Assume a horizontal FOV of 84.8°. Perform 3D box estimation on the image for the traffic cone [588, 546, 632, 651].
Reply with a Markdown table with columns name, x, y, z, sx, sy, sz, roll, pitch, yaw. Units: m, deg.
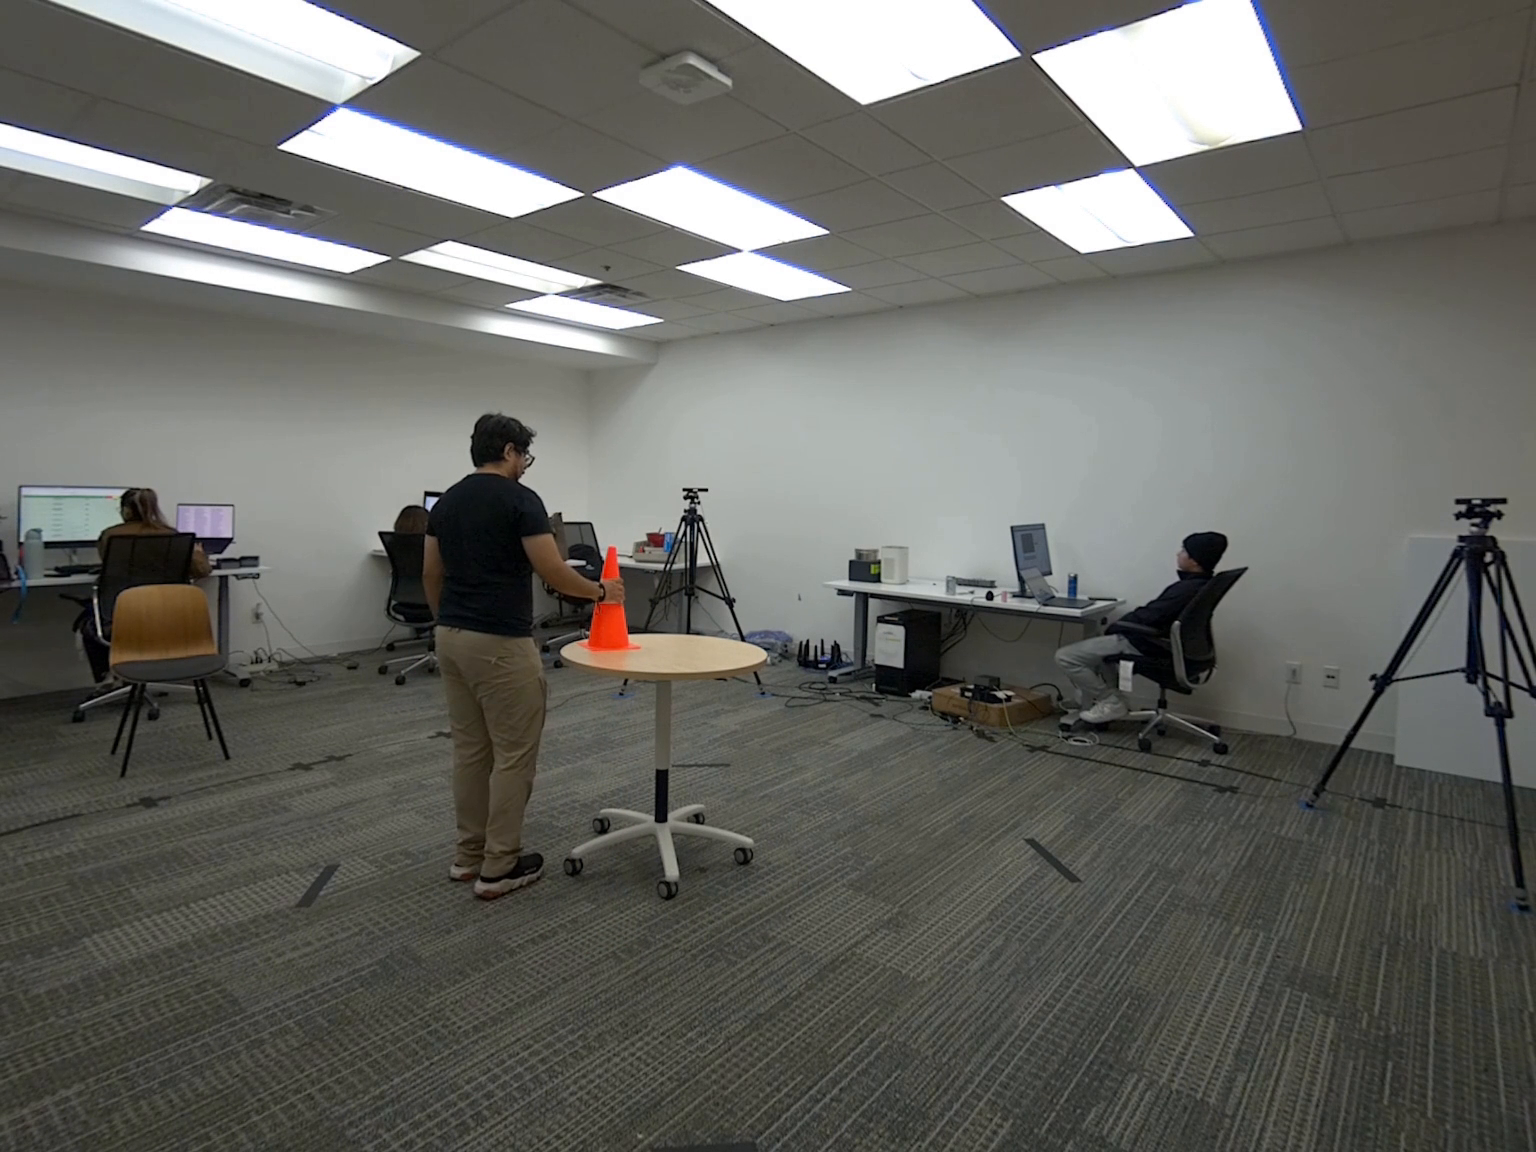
| name | x | y | z | sx | sy | sz | roll | pitch | yaw |
| --- | --- | --- | --- | --- | --- | --- | --- | --- | --- |
| traffic cone | -0.616 | 0.075 | 3.234 | 0.198 | 0.382 | 0.212 | 0 | 6 | -30 |
